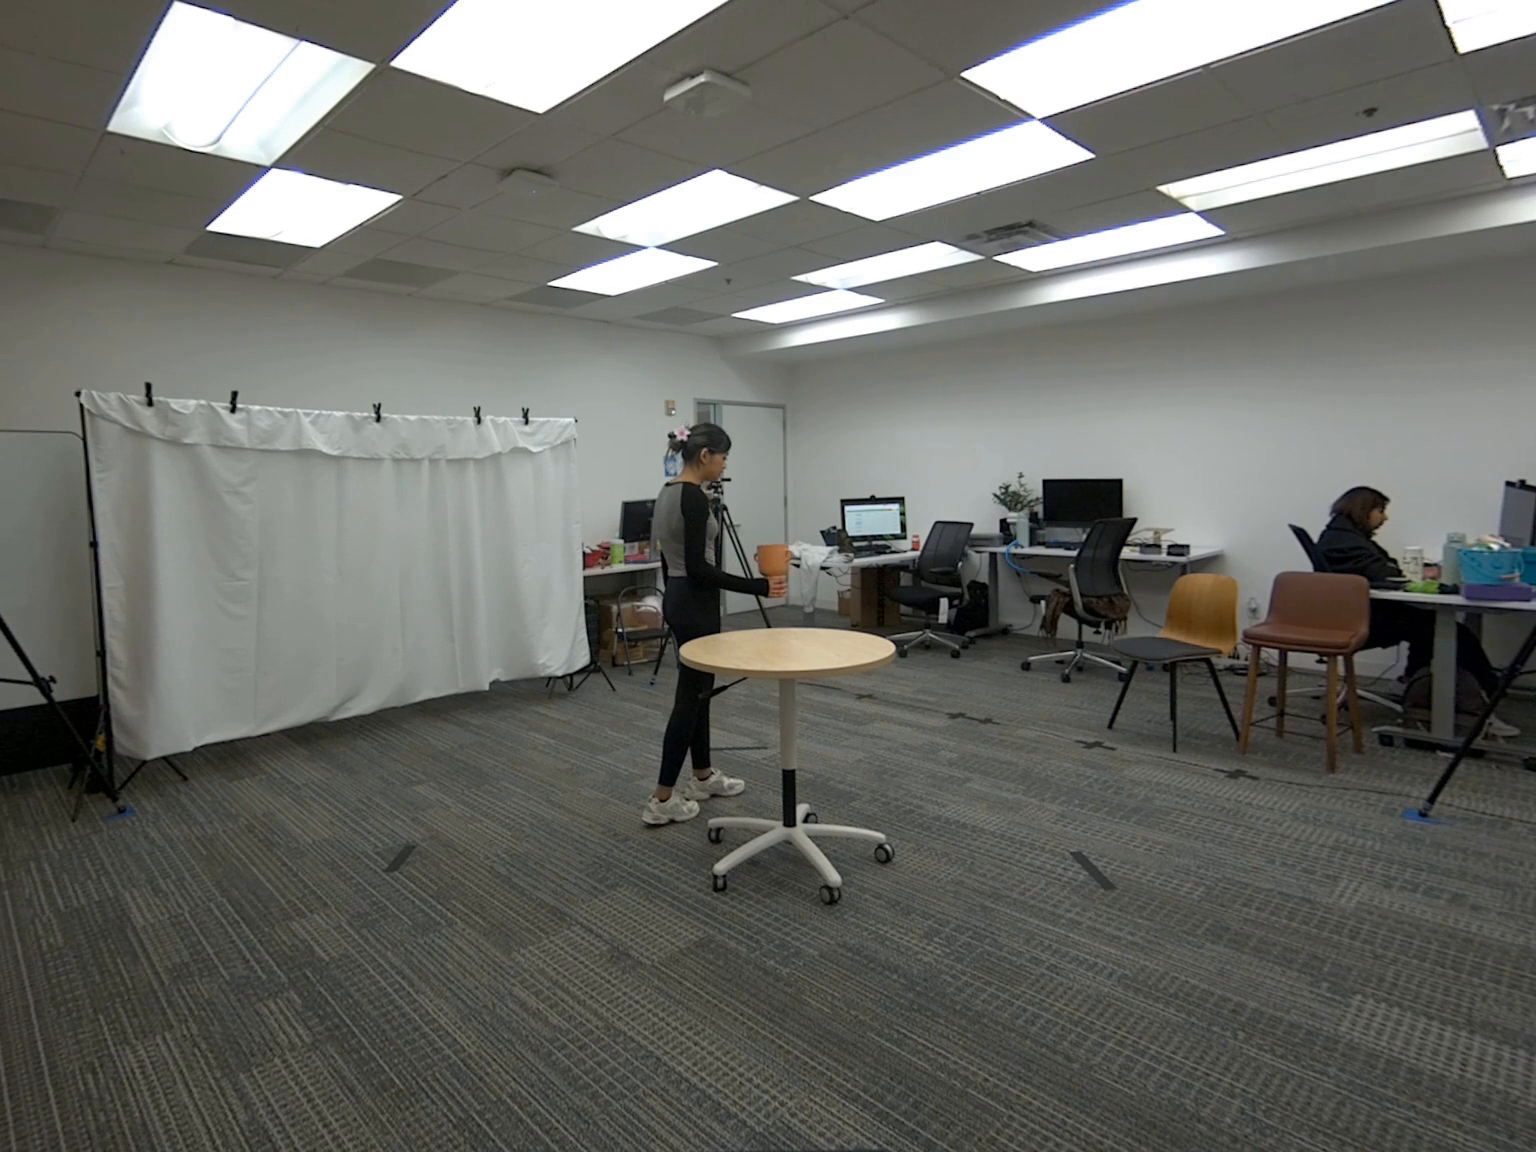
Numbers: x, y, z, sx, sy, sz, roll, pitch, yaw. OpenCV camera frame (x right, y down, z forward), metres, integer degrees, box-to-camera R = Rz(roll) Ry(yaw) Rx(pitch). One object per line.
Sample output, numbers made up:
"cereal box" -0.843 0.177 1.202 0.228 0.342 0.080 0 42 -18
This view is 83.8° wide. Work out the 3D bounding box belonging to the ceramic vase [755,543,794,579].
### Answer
"ceramic vase" 0.024 -0.019 3.535 0.133 0.220 0.161 -3 -1 -15
